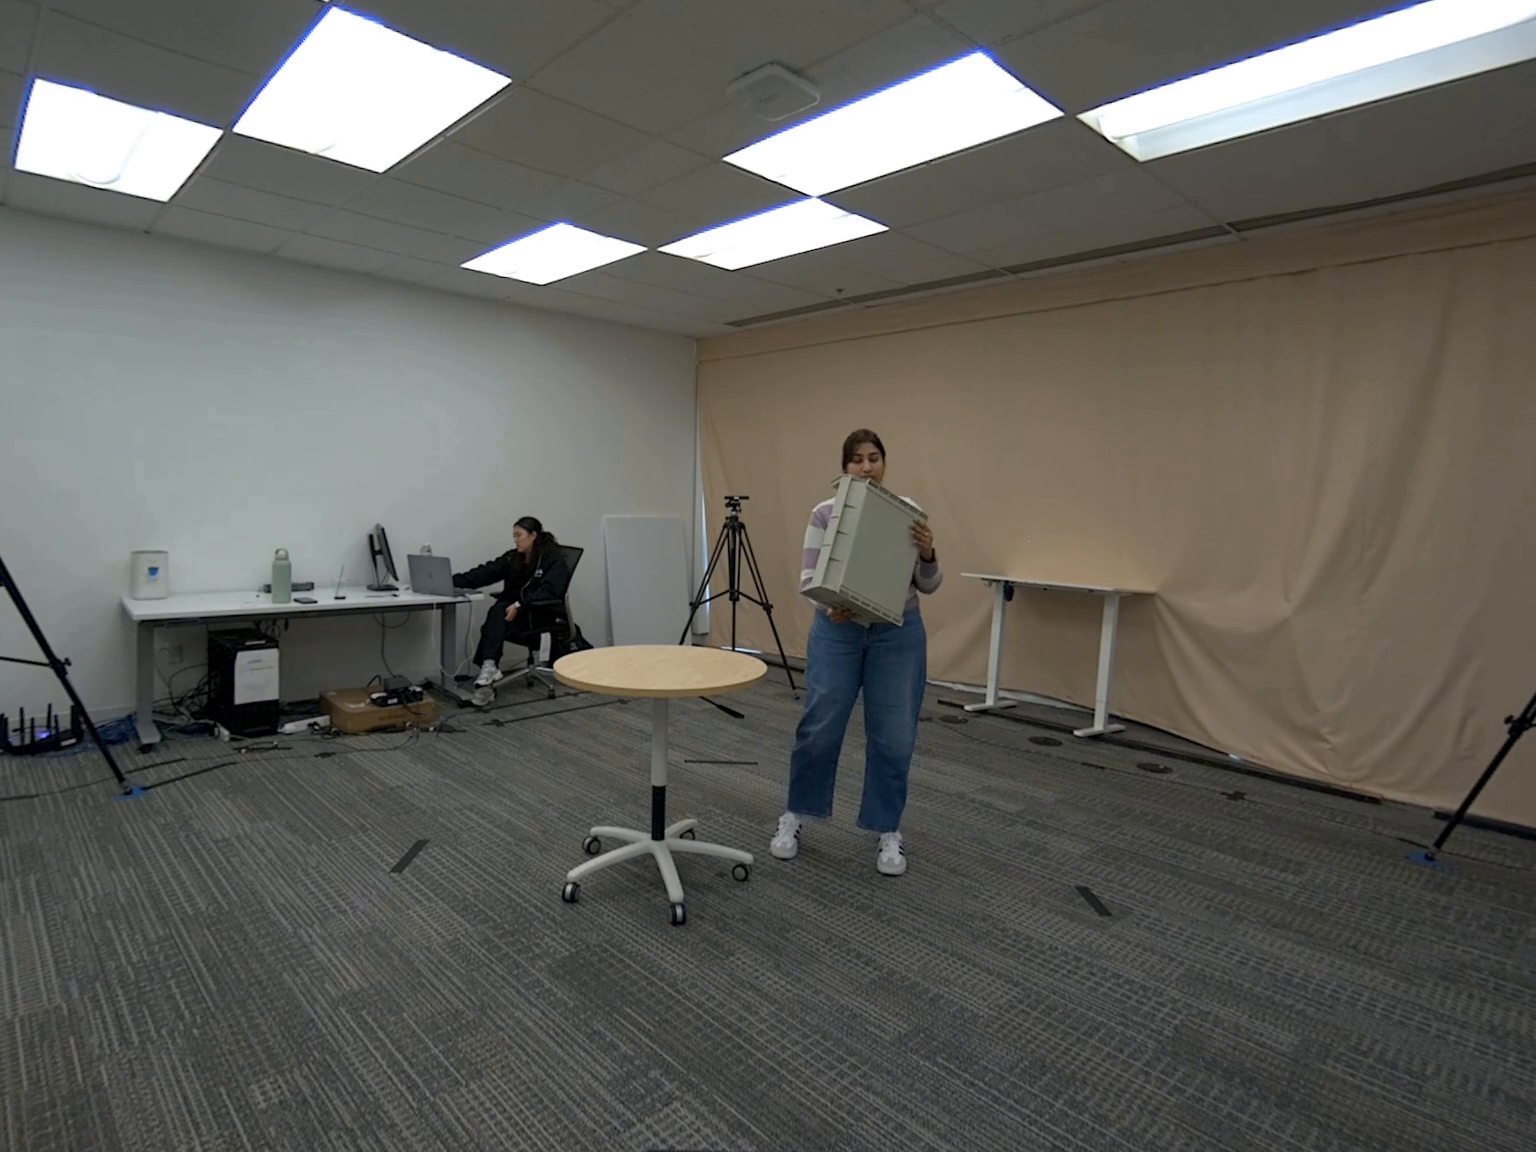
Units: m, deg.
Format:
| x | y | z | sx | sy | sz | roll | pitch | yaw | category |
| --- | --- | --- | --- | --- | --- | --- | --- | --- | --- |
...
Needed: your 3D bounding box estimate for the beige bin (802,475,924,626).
| x | y | z | sx | sy | sz | roll | pitch | yaw | category |
| --- | --- | --- | --- | --- | --- | --- | --- | --- | --- |
| 0.317 | -0.079 | 2.902 | 0.367 | 0.425 | 0.193 | 27 | -19 | -32 | beige bin |
